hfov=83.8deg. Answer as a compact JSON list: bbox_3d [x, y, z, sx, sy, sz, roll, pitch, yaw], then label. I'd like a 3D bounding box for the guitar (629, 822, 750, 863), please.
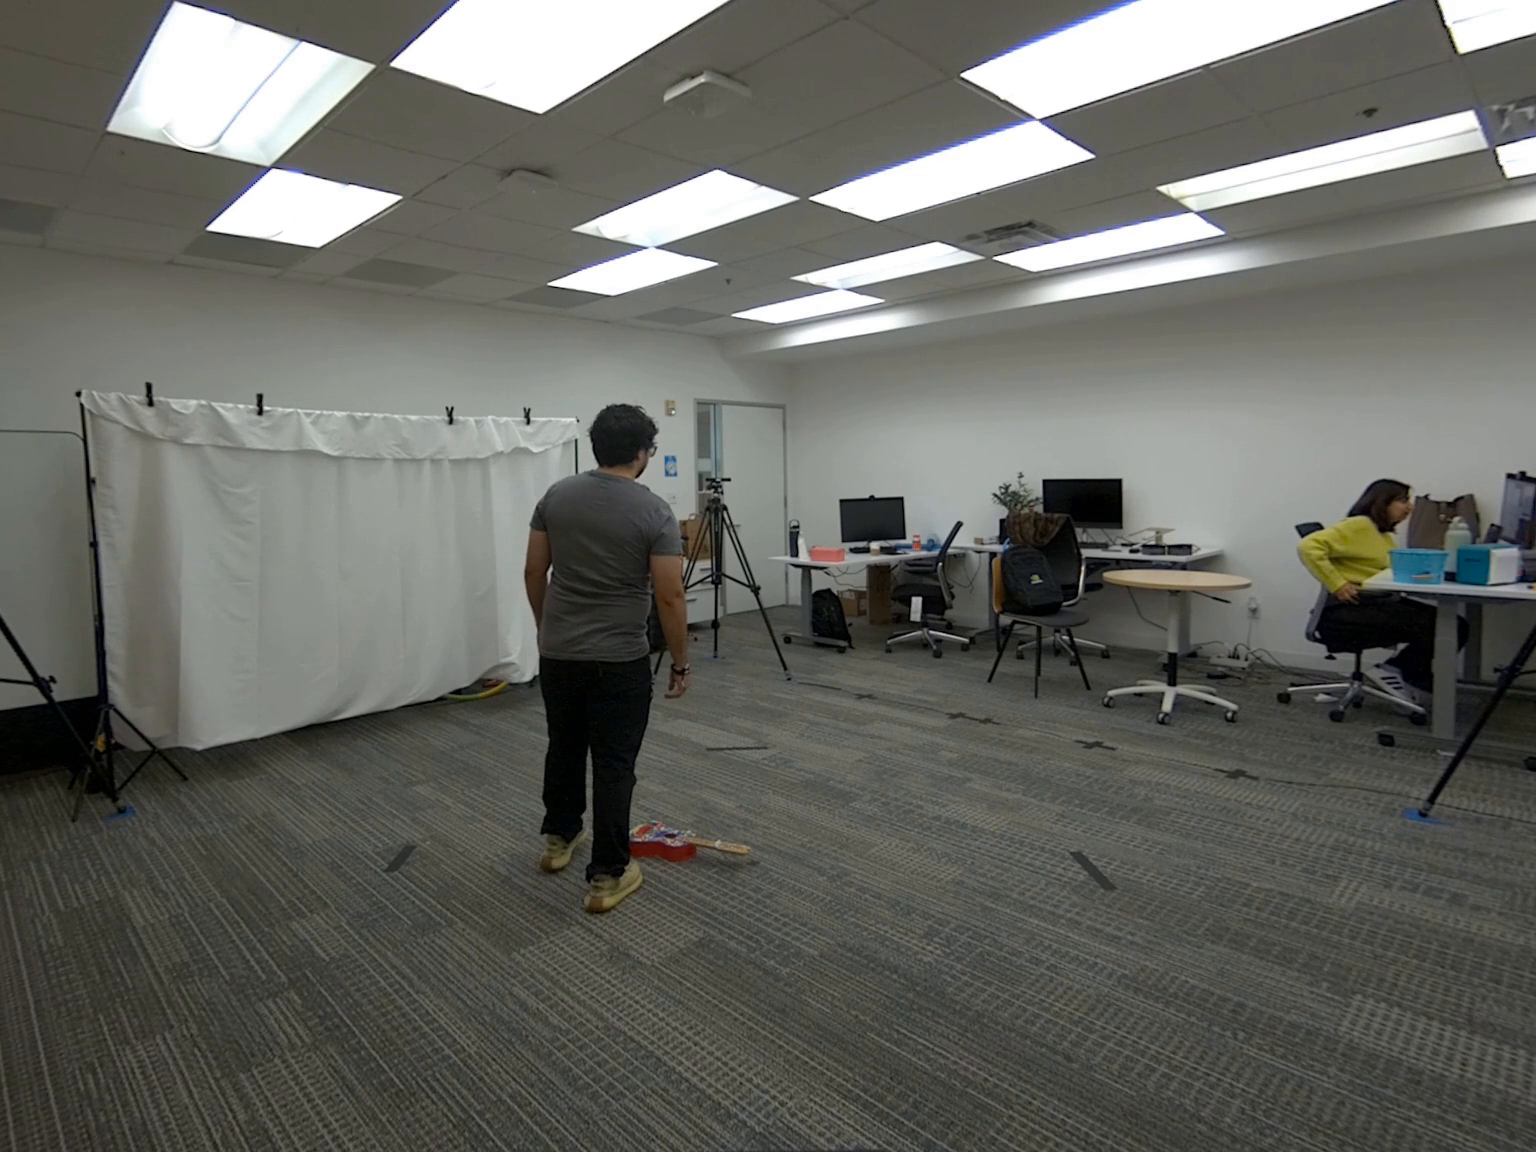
[{"bbox_3d":[-0.310,1.008,3.155,0.512,0.070,0.188,3,7,33],"label":"guitar"}]
